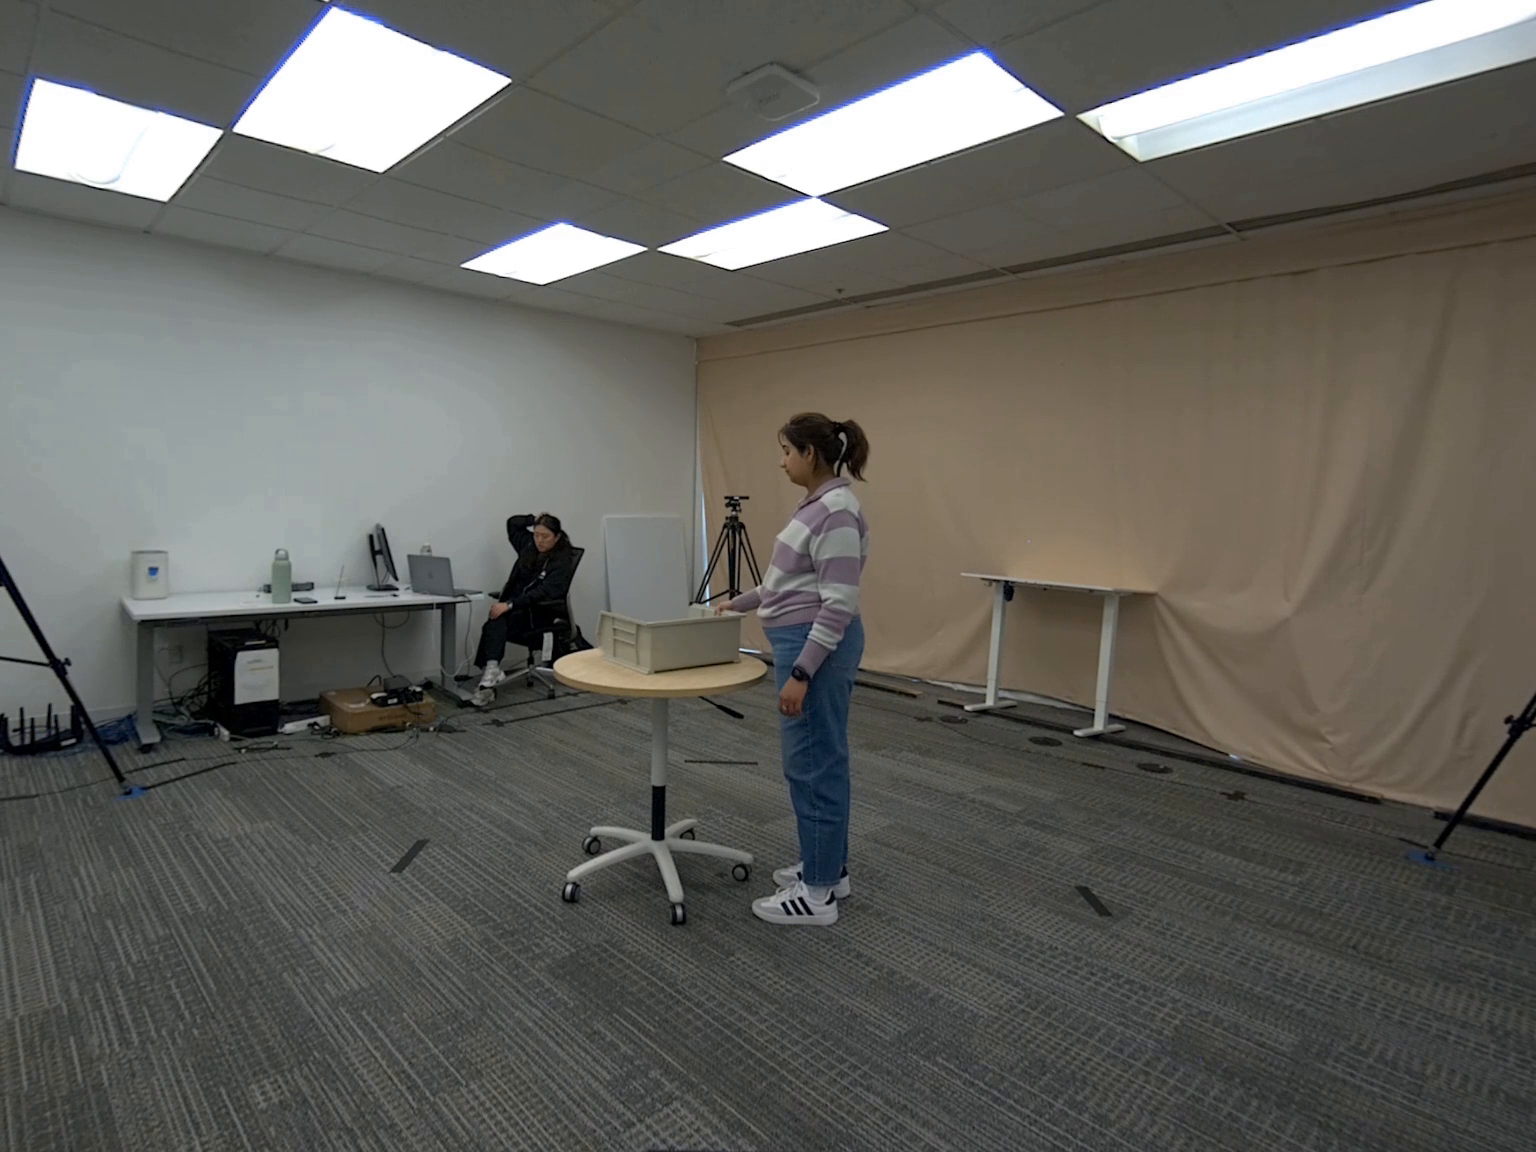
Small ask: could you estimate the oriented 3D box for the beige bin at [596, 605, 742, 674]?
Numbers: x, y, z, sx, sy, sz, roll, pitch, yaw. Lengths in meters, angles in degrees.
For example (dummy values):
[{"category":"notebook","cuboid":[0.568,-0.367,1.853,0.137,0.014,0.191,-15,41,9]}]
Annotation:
[{"category":"beige bin","cuboid":[-0.369,0.219,3.122,0.413,0.188,0.387,-1,8,-38]}]
